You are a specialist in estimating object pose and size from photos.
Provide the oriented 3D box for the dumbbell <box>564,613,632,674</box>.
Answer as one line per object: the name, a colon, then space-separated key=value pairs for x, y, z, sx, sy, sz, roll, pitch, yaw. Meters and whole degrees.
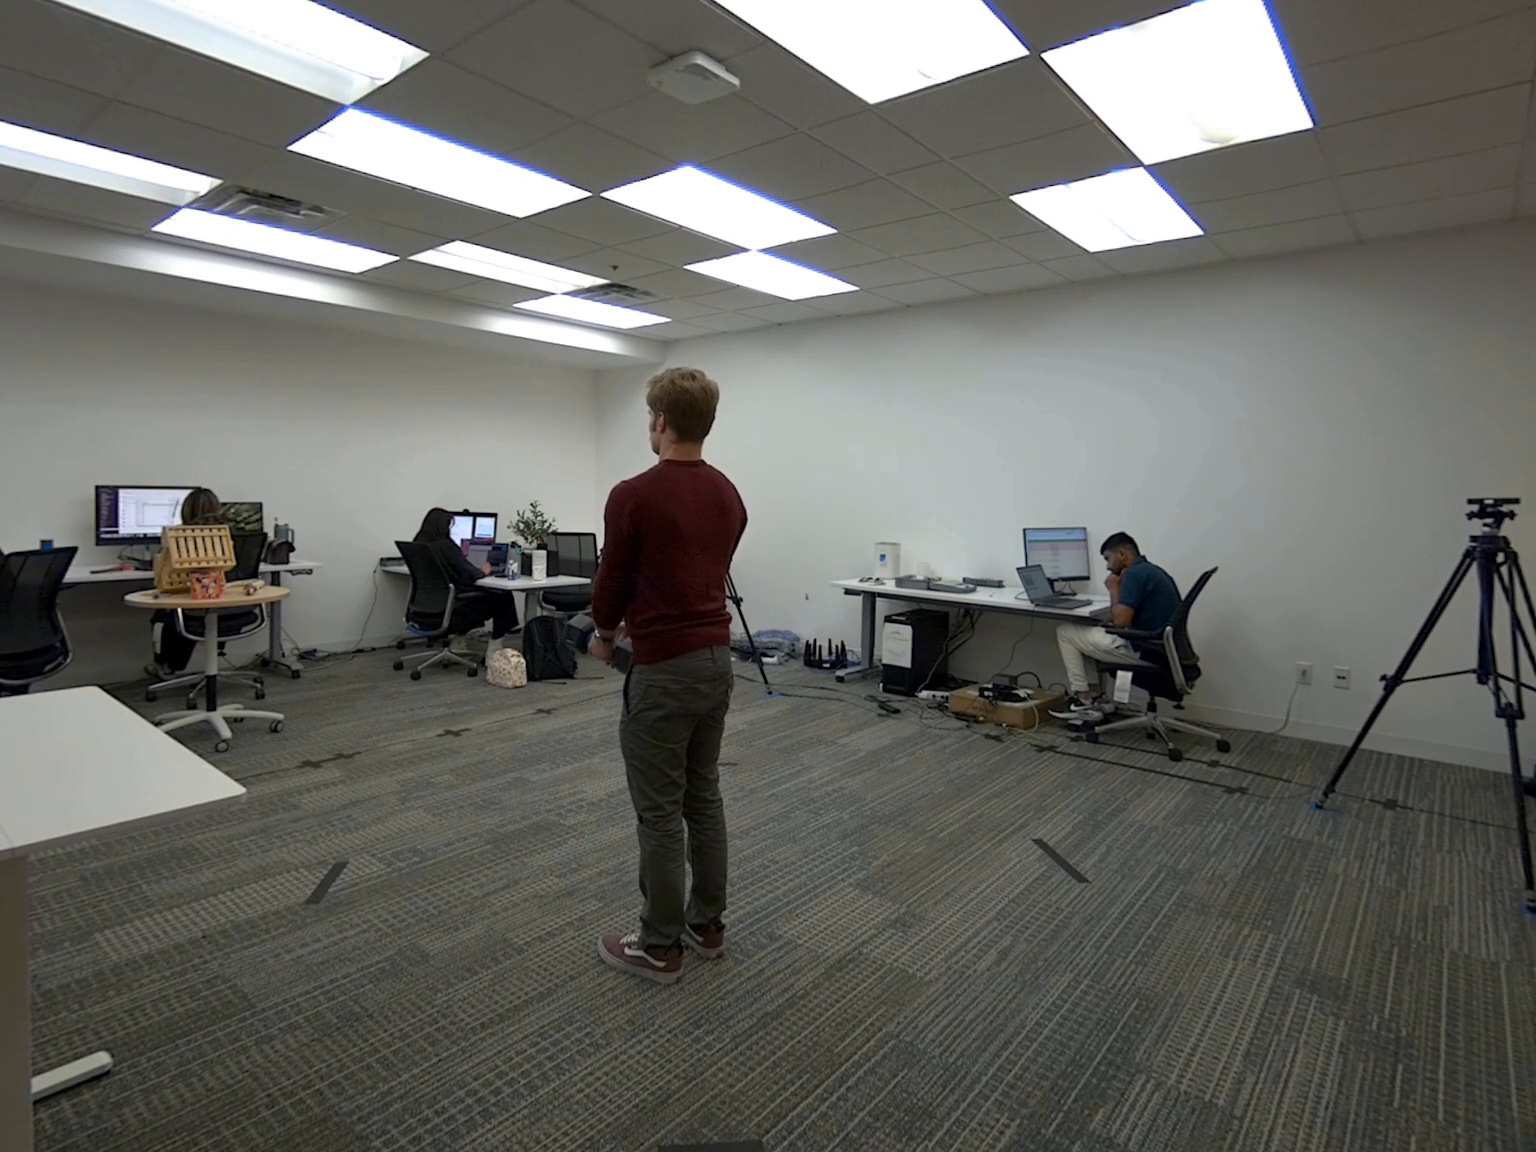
dumbbell: x=-0.527 y=0.230 z=2.695 sx=0.303 sy=0.122 sz=0.105 roll=19 pitch=7 yaw=27
